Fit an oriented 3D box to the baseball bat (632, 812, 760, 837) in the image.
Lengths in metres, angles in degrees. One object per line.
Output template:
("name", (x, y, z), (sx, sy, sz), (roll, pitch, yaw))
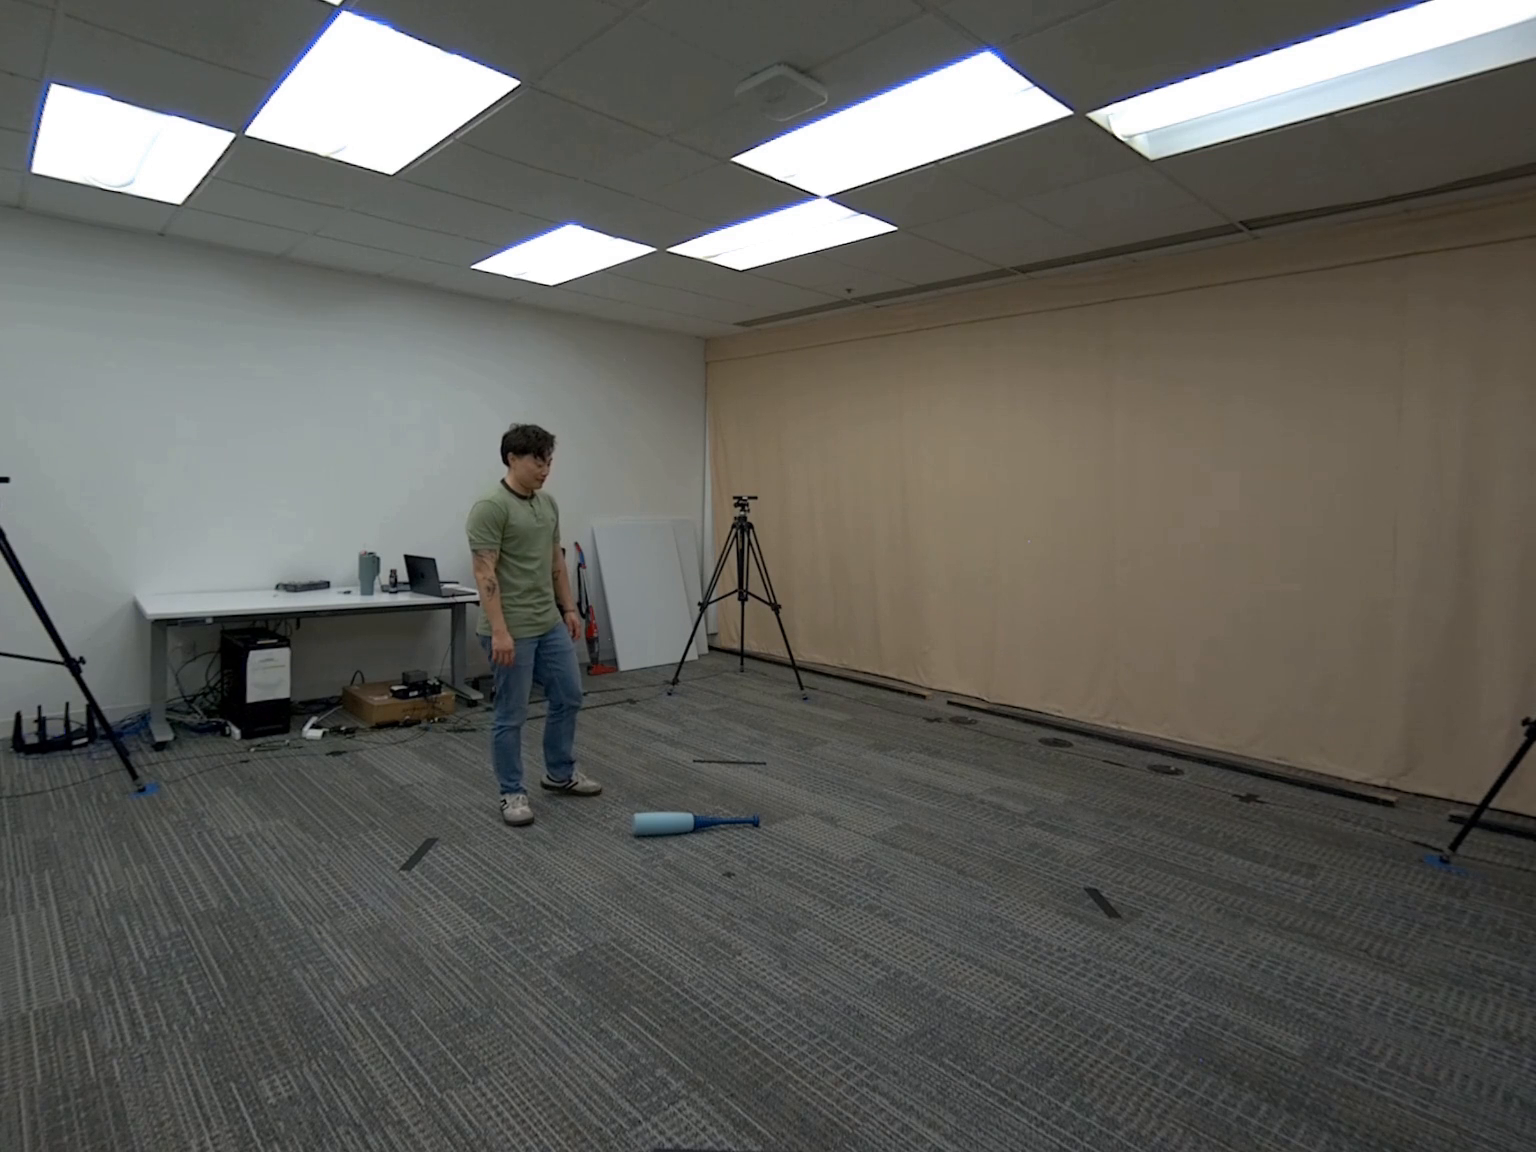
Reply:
("baseball bat", (-0.305, 1.028, 3.504), (0.536, 0.089, 0.090), (3, 4, -15))
